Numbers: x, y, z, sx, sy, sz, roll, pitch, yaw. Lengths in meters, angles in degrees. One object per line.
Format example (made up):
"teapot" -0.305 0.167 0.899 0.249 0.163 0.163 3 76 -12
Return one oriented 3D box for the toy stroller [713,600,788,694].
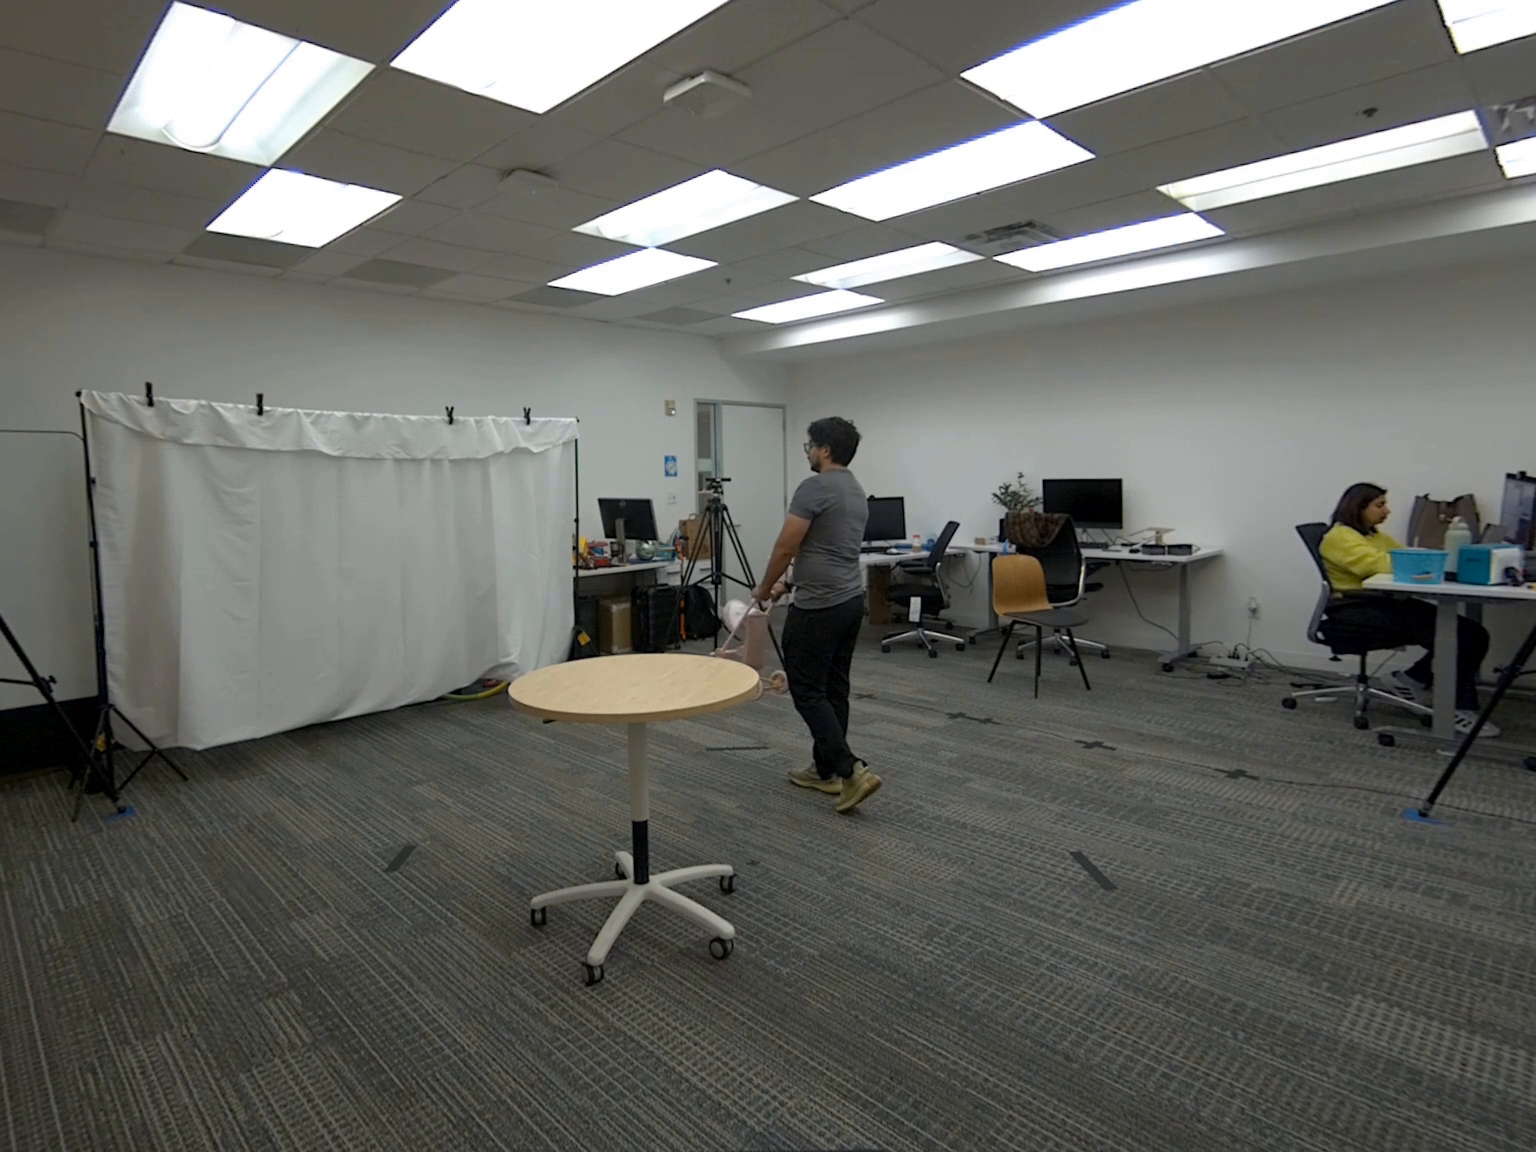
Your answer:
"toy stroller" -0.105 0.349 3.933 0.350 0.537 0.273 -6 -5 36
